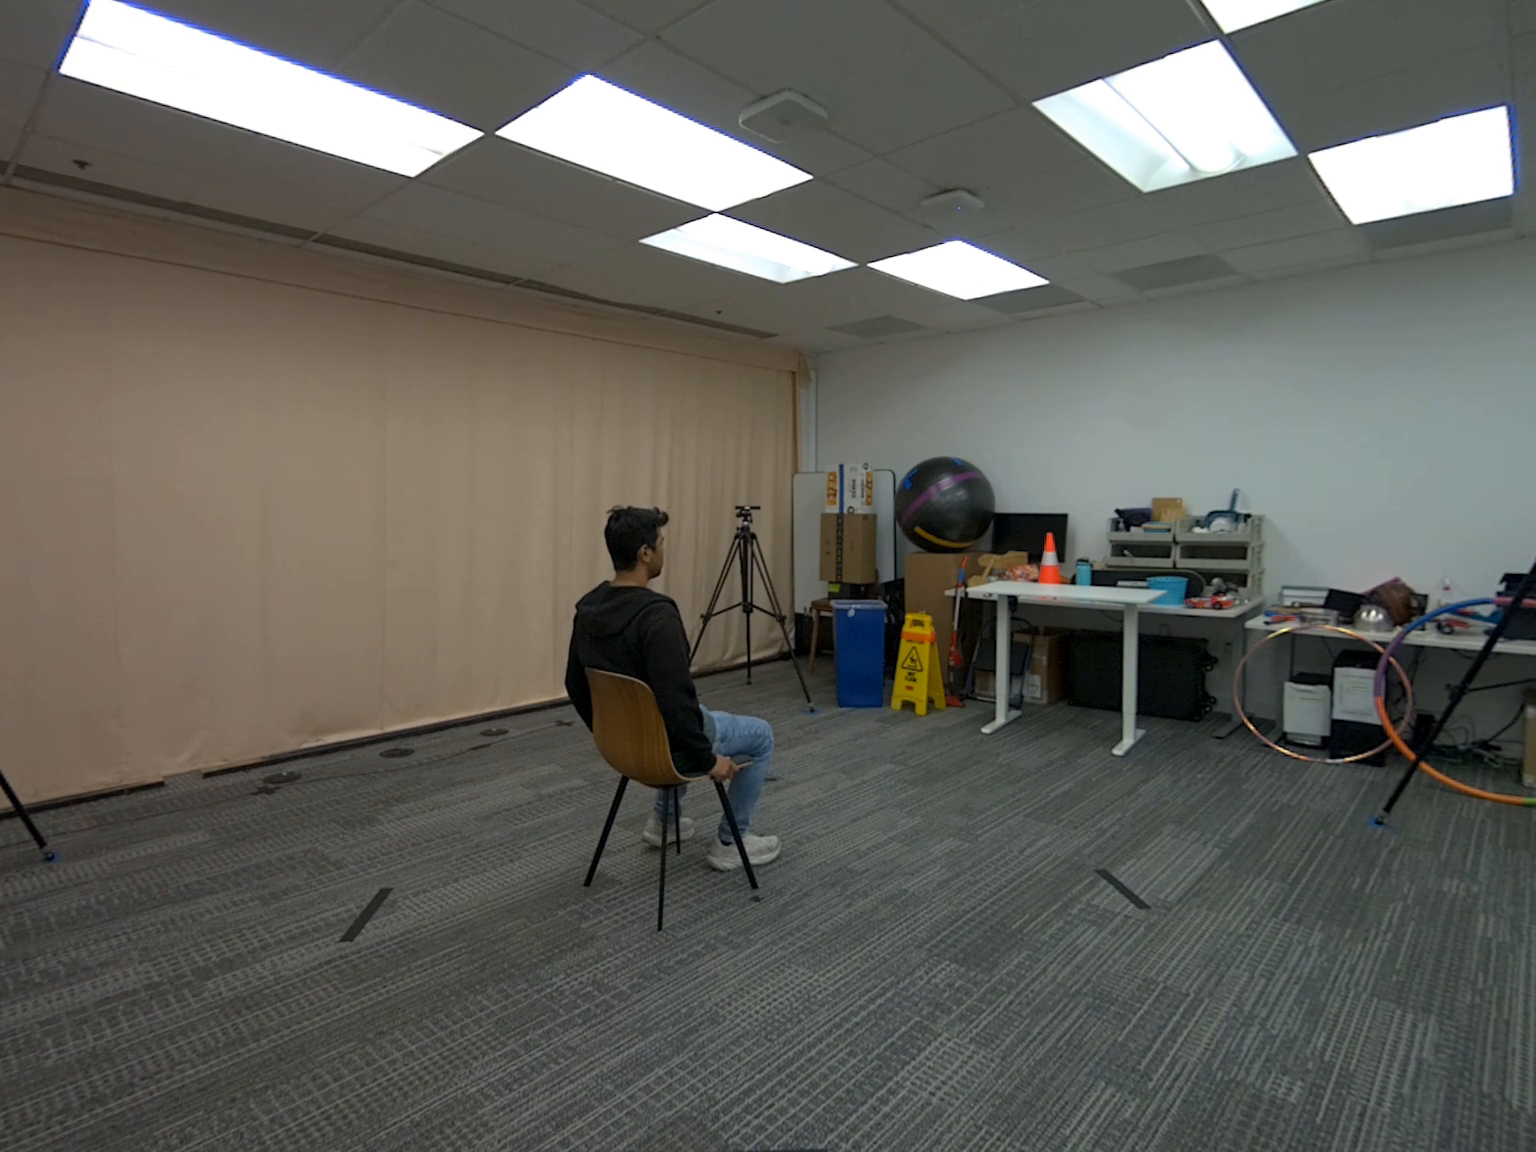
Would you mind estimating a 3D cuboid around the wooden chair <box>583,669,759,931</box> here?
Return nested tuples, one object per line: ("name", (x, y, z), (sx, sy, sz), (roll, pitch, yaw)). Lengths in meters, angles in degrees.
("wooden chair", (-0.348, 0.712, 3.053), (0.508, 0.874, 0.494), (-9, 8, -43))
